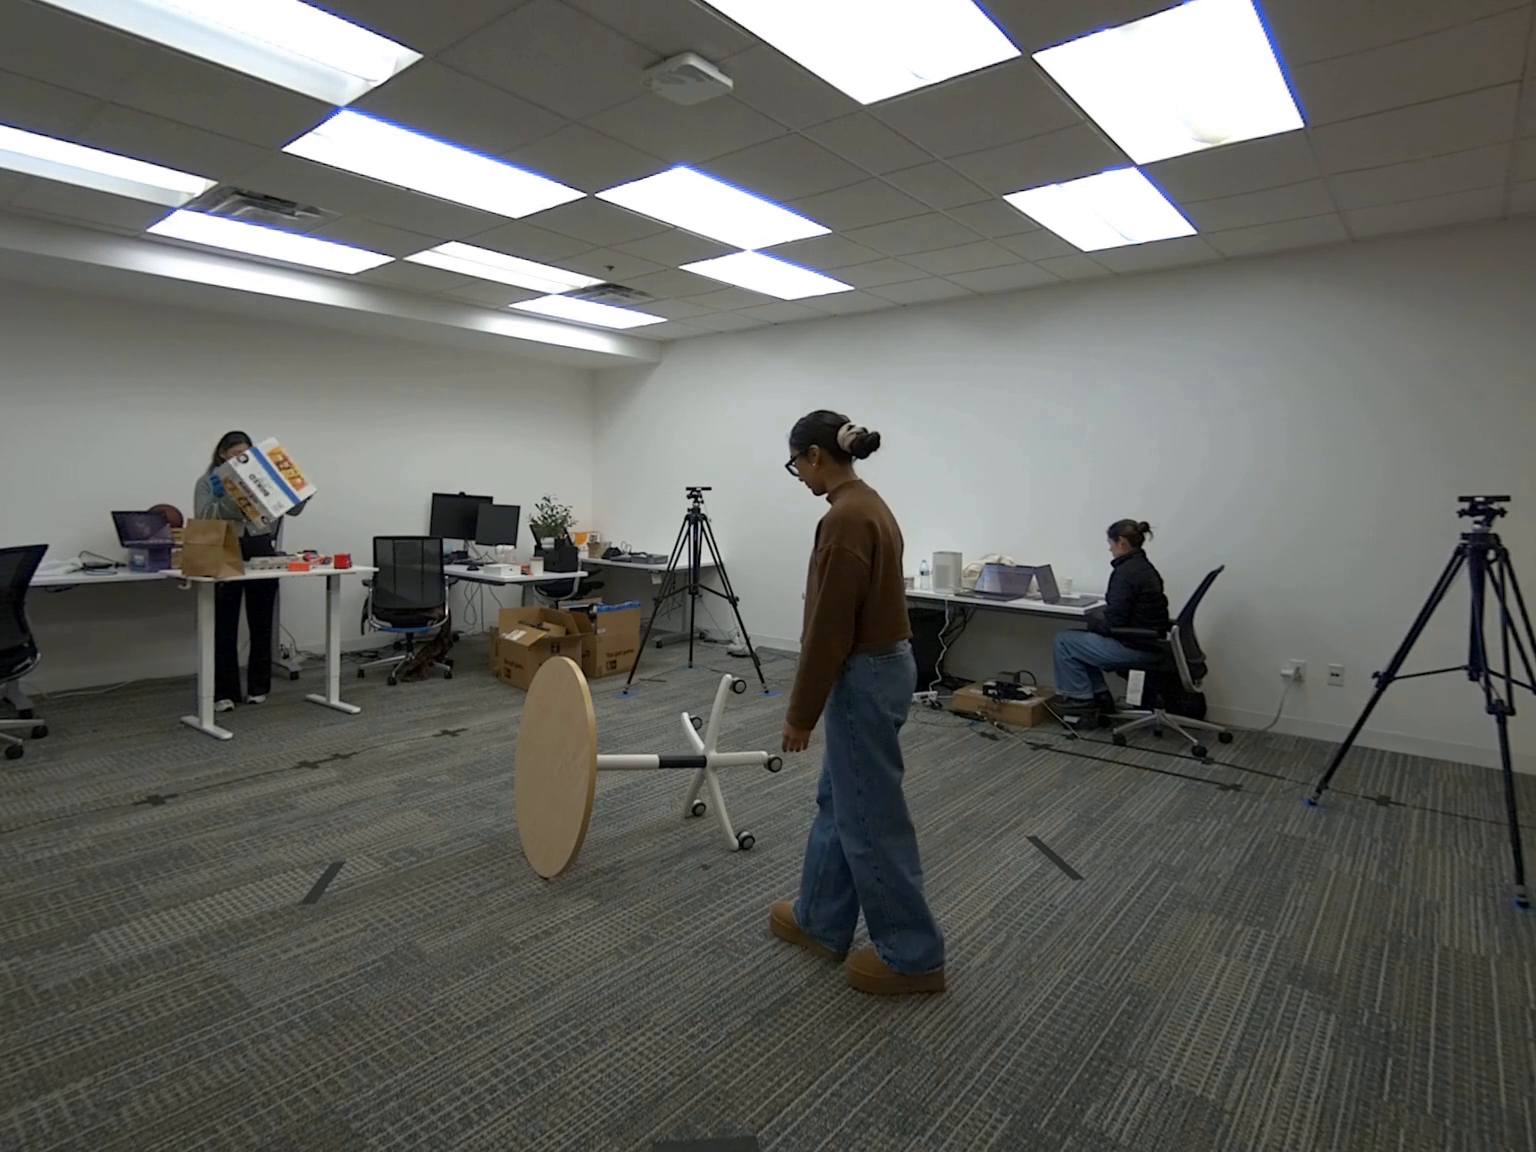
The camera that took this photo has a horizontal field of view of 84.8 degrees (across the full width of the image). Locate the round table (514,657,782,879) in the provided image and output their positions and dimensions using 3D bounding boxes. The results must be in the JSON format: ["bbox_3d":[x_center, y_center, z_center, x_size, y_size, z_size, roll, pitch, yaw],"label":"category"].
[{"bbox_3d":[-0.482,0.710,3.279,0.769,0.764,0.788,7,0,-32],"label":"round table"}]
